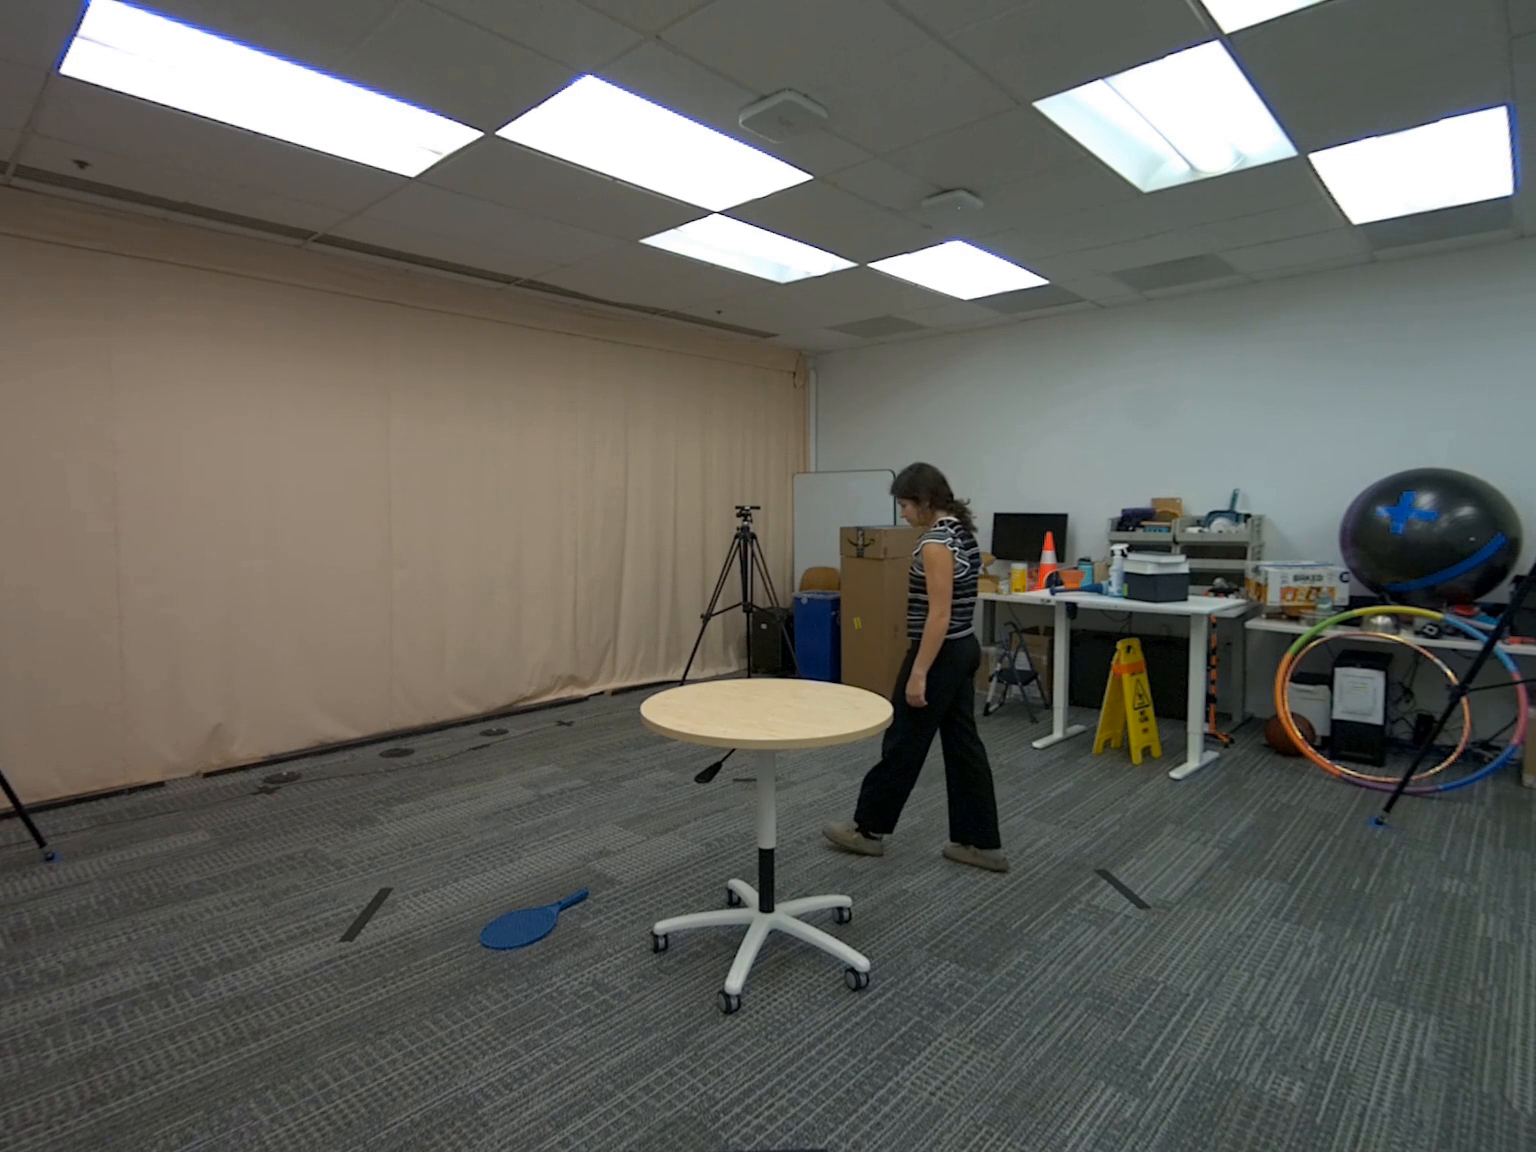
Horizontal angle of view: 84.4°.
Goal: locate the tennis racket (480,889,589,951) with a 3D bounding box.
[{"bbox_3d":[-0.775,1.151,2.837,0.220,0.031,0.421,2,7,35],"label":"tennis racket"}]
